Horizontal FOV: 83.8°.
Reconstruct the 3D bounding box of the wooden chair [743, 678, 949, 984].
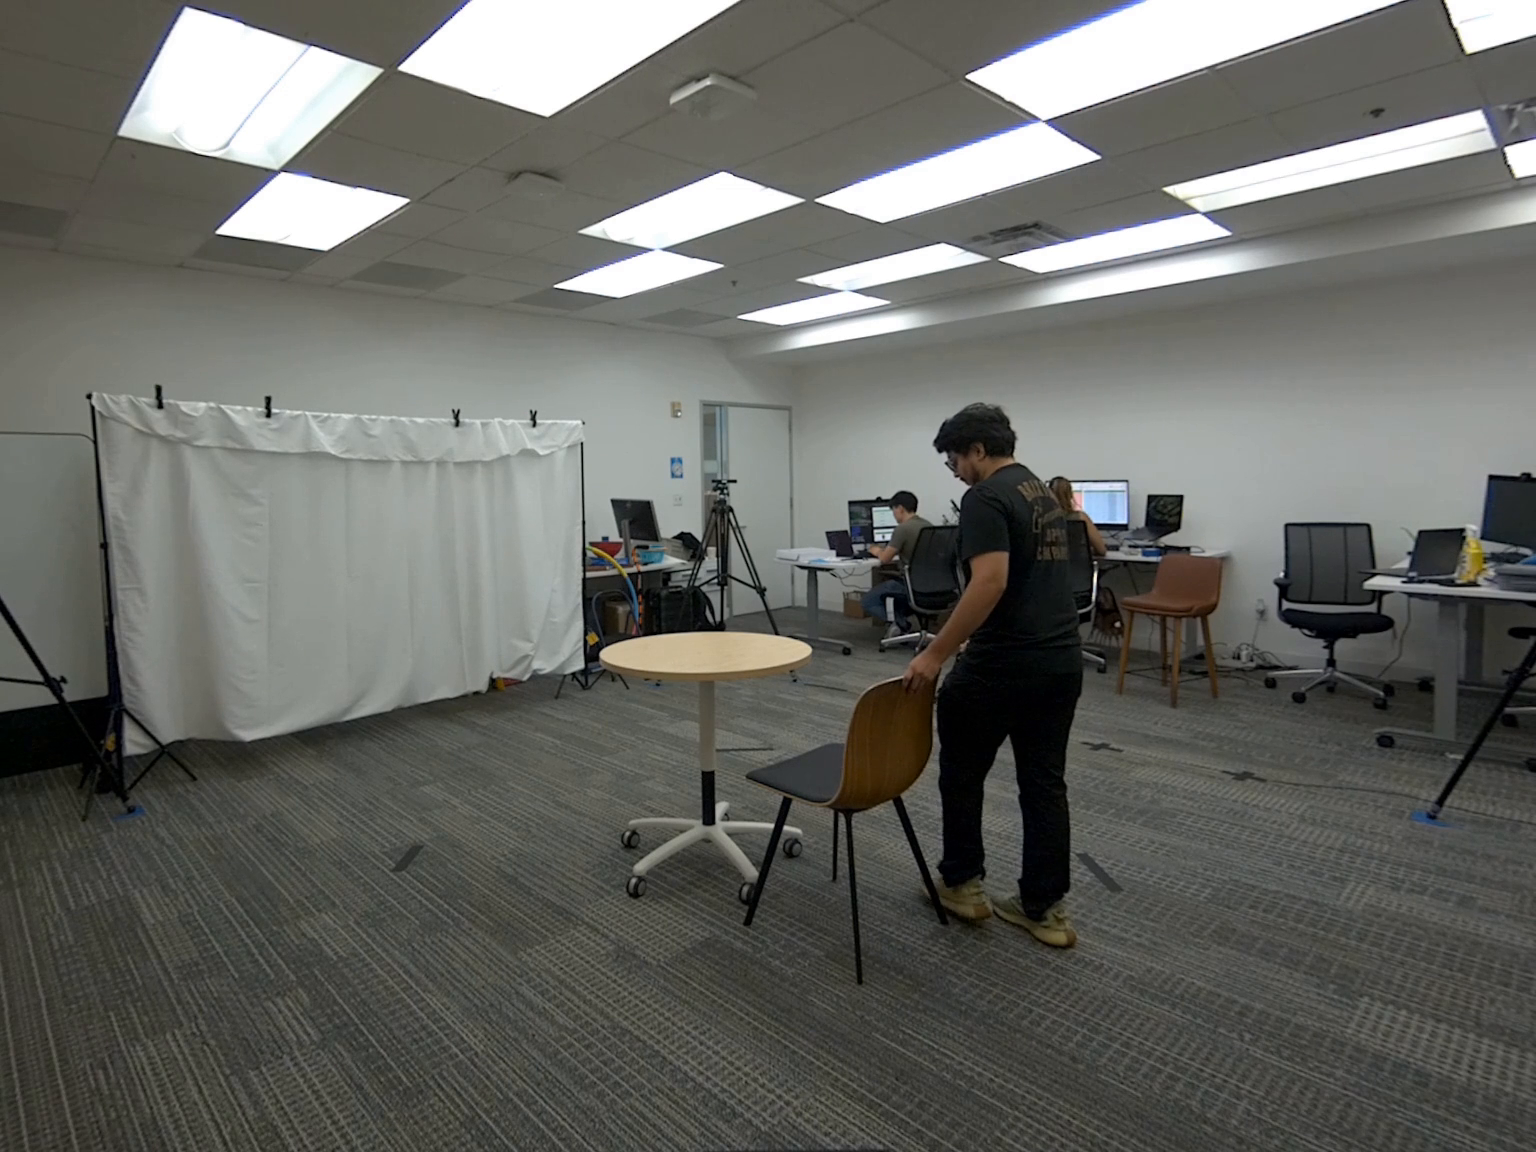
[{"bbox_3d":[0.232,0.666,2.642,0.540,0.871,0.466,9,11,44],"label":"wooden chair"}]
